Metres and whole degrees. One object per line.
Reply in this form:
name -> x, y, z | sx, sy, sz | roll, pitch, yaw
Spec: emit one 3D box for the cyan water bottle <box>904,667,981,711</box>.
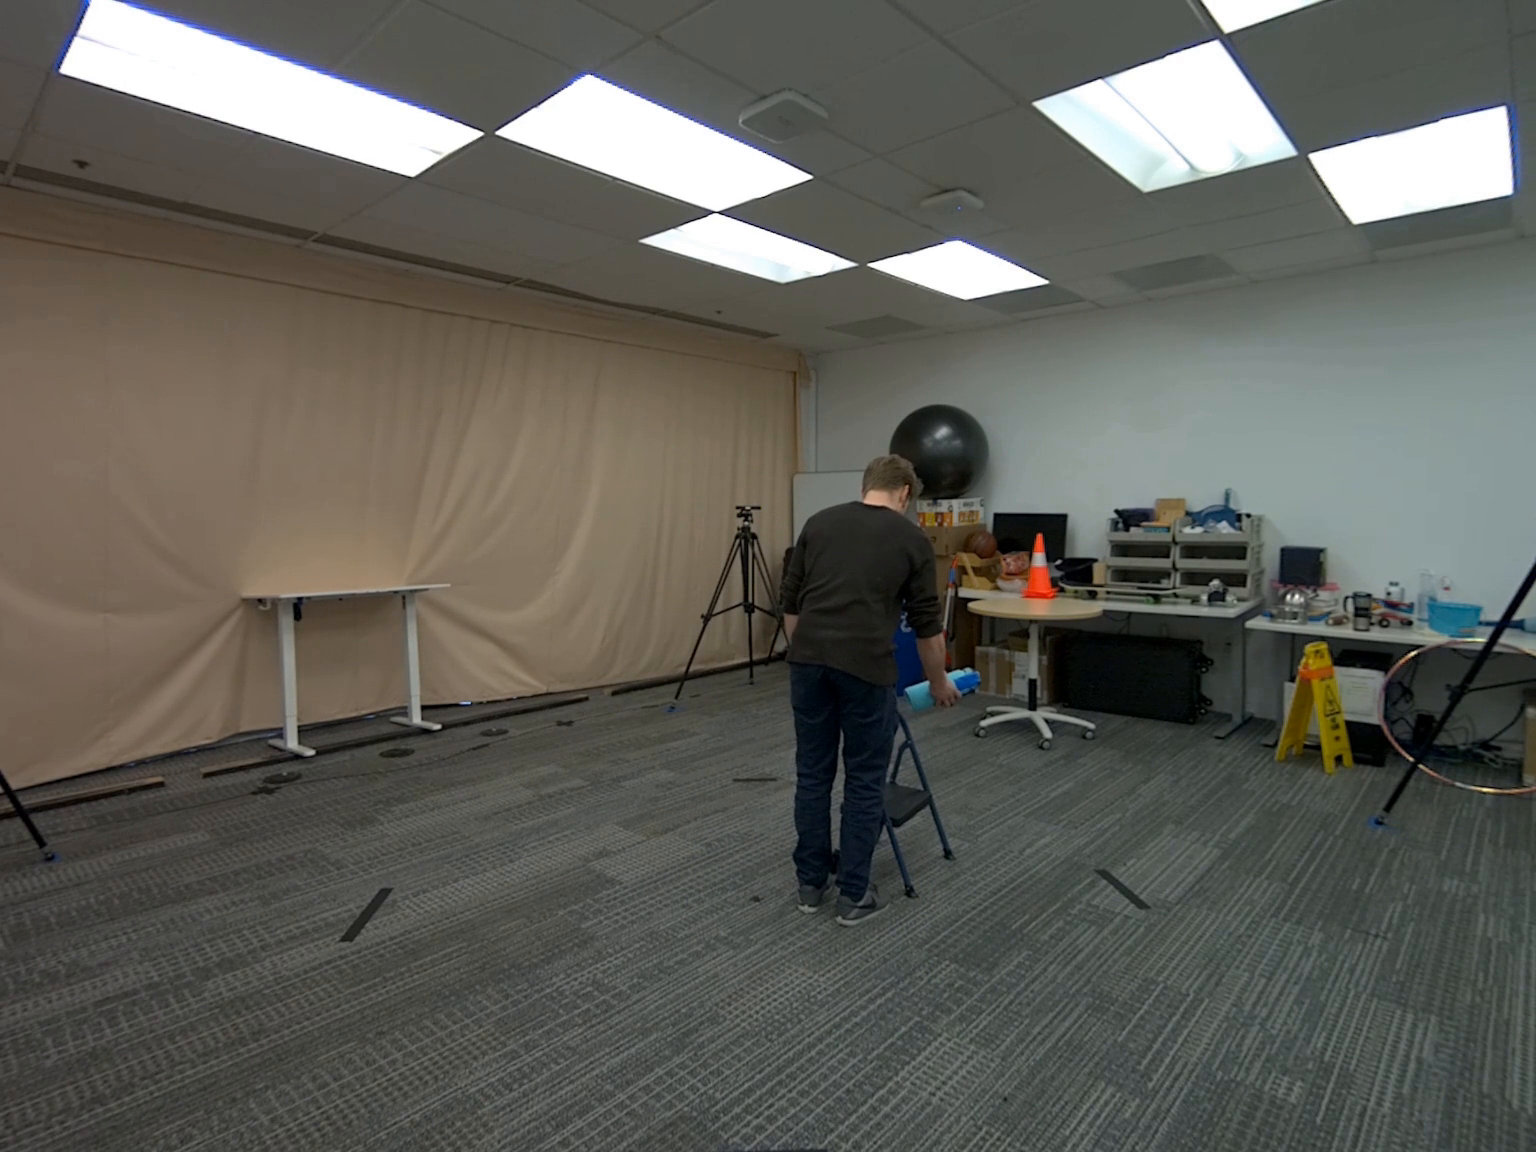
cyan water bottle -> 0.658, 0.420, 3.114 | 0.283, 0.092, 0.093 | -19, 4, 0
